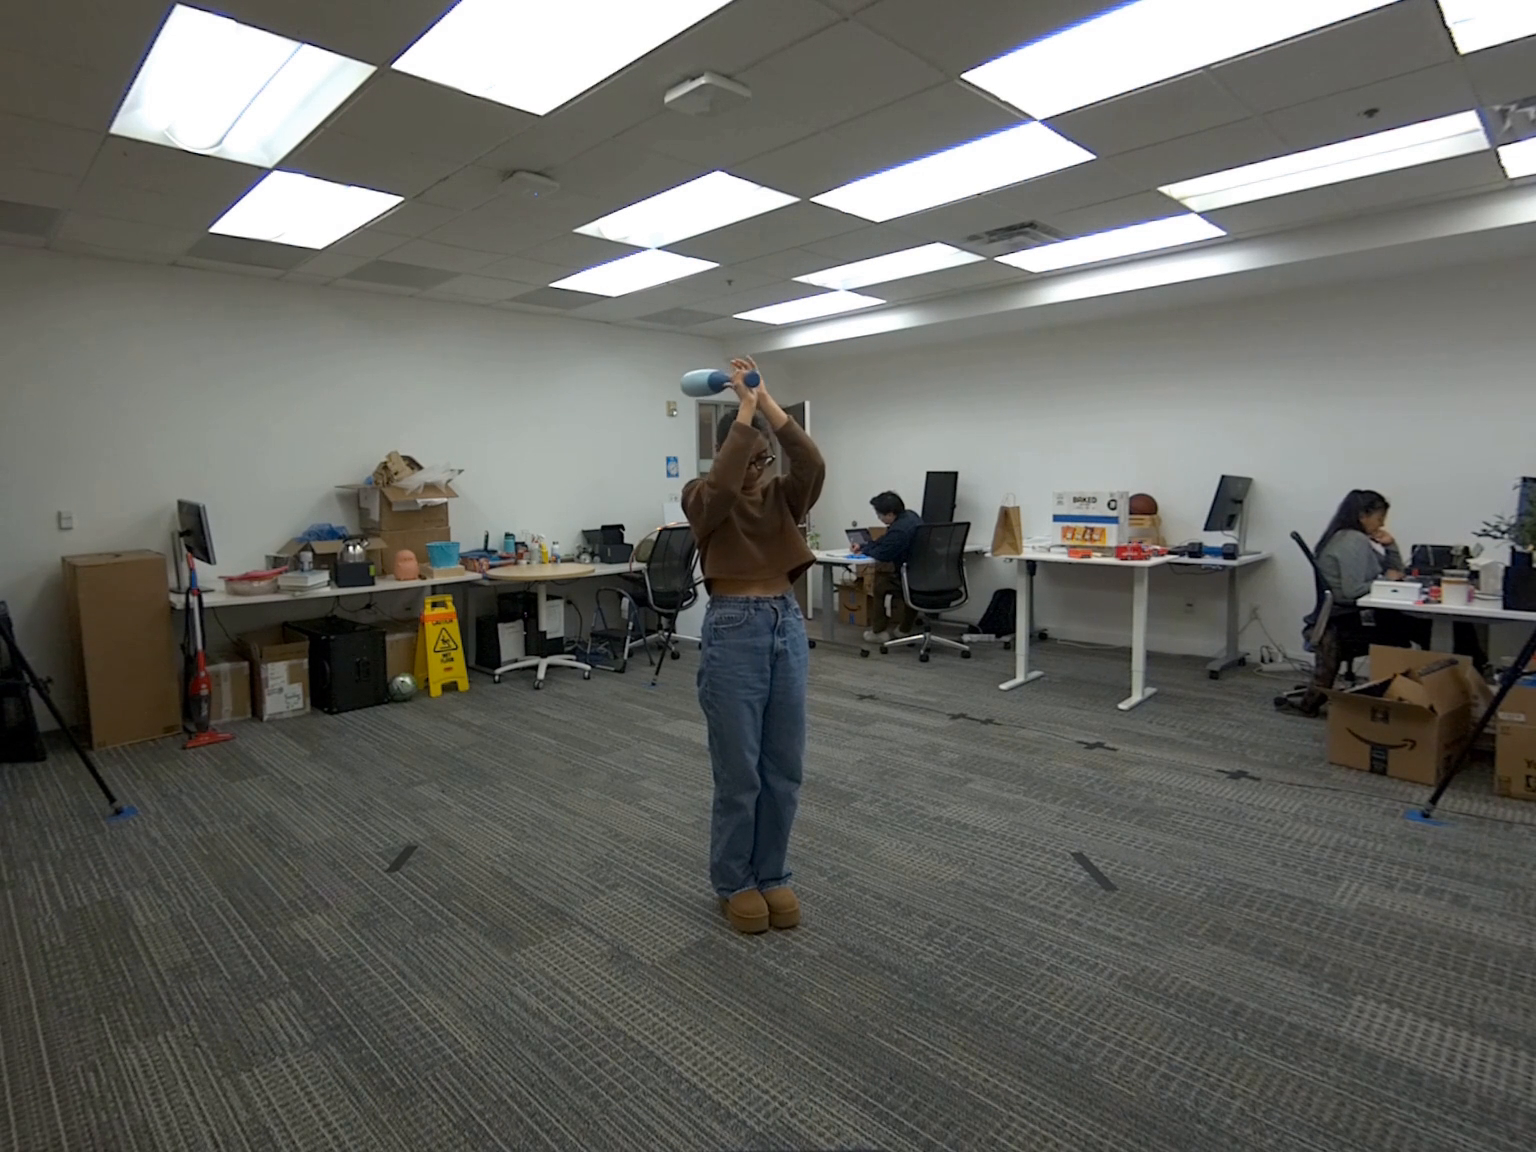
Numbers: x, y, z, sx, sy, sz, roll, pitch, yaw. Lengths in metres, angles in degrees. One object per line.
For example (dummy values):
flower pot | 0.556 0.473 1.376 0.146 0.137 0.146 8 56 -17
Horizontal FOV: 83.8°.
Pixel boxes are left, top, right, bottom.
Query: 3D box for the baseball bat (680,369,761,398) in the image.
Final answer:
baseball bat | -0.147 -0.613 2.692 0.087 0.088 0.557 -3 10 -21
